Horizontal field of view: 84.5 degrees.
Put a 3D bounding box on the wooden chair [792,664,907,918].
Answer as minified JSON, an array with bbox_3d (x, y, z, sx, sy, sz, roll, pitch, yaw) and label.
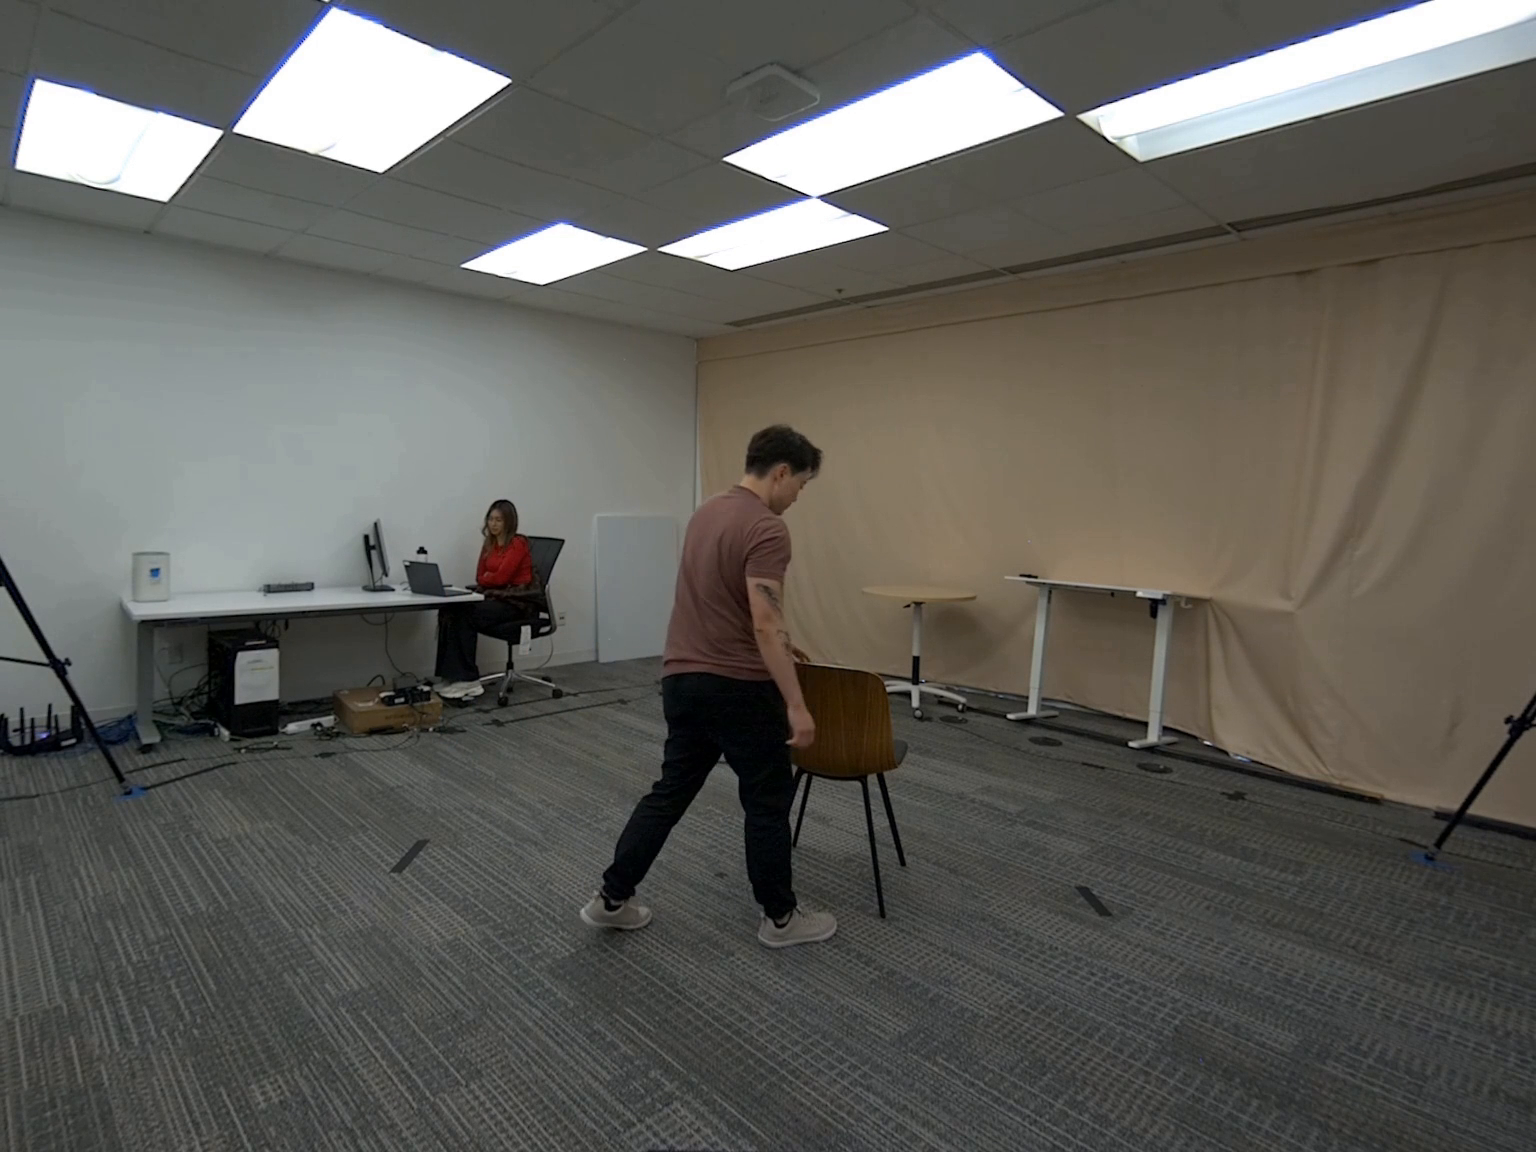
[{"bbox_3d":[0.248,0.689,3.072,0.486,0.873,0.517,2,7,19],"label":"wooden chair"}]
